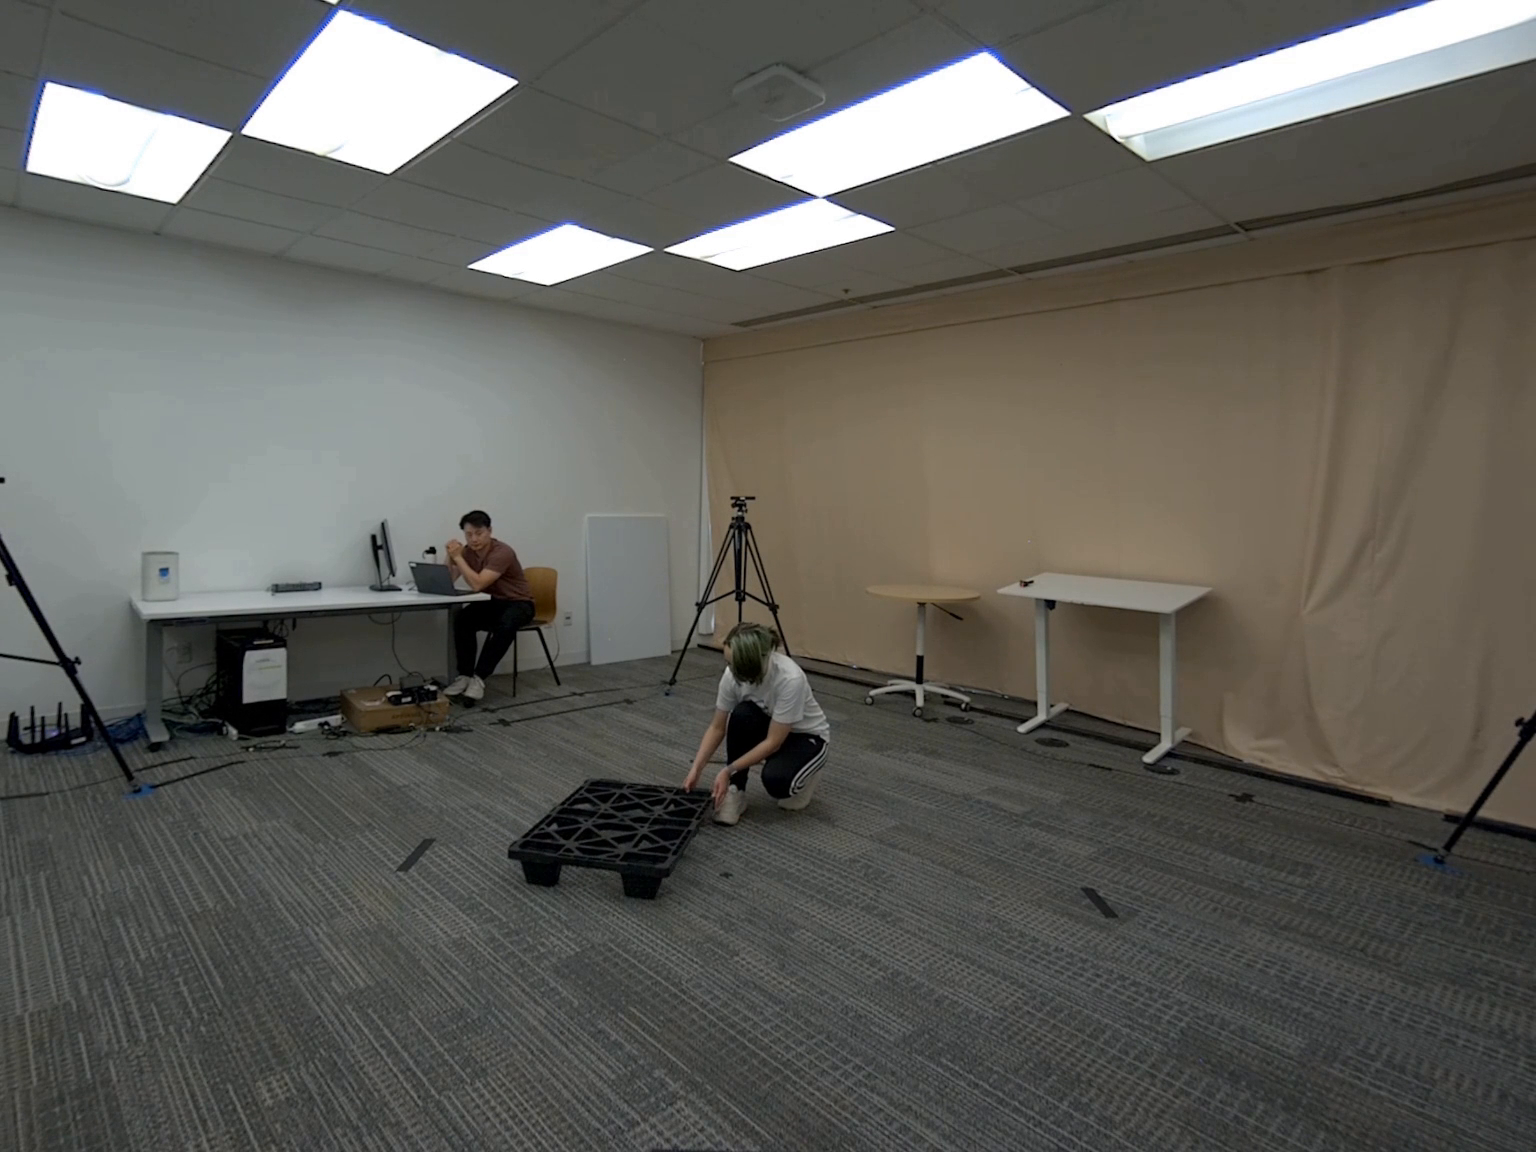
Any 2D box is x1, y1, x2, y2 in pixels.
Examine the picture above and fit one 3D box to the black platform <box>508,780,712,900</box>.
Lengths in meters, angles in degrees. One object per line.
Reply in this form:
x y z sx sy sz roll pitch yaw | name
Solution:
-0.578 1.010 3.292 0.611 0.143 0.800 2 5 10 | black platform
